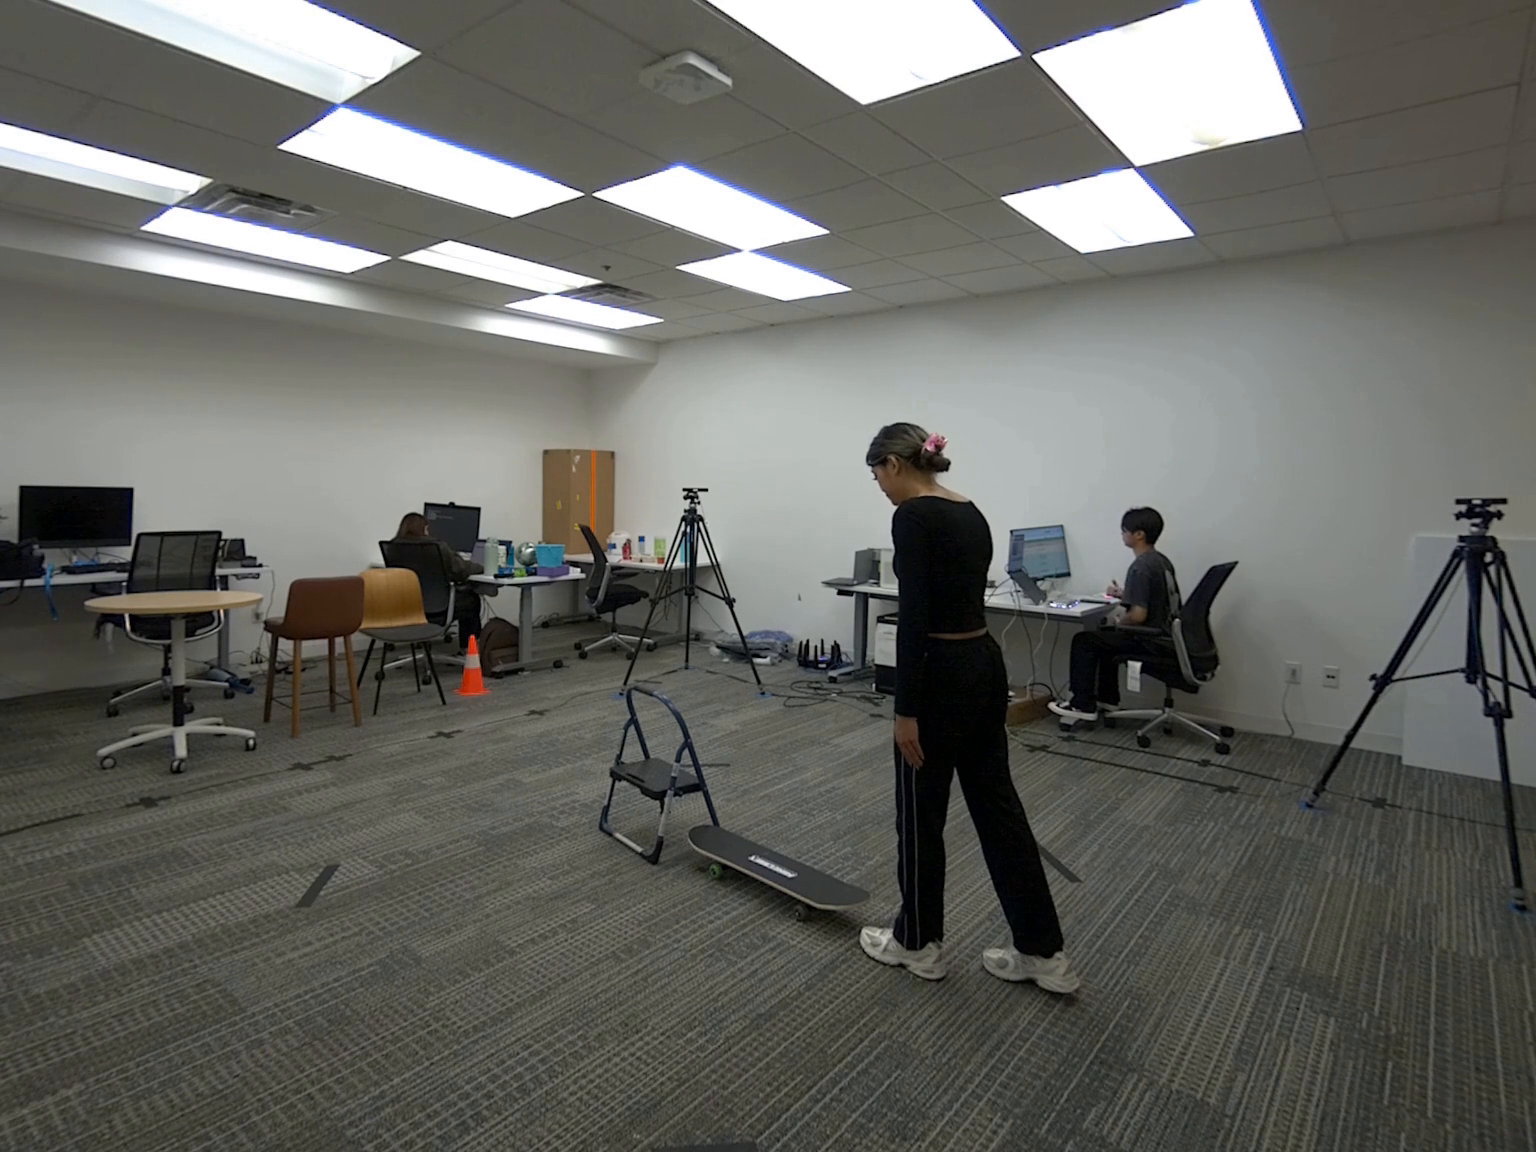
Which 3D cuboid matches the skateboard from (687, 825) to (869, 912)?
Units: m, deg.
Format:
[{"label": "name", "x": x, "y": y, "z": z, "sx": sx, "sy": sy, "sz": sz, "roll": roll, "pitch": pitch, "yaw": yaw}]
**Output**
[{"label": "skateboard", "x": 0.009, "y": 1.033, "z": 2.946, "sx": 0.813, "sy": 0.110, "sz": 0.188, "roll": 6, "pitch": 8, "yaw": 44}]
